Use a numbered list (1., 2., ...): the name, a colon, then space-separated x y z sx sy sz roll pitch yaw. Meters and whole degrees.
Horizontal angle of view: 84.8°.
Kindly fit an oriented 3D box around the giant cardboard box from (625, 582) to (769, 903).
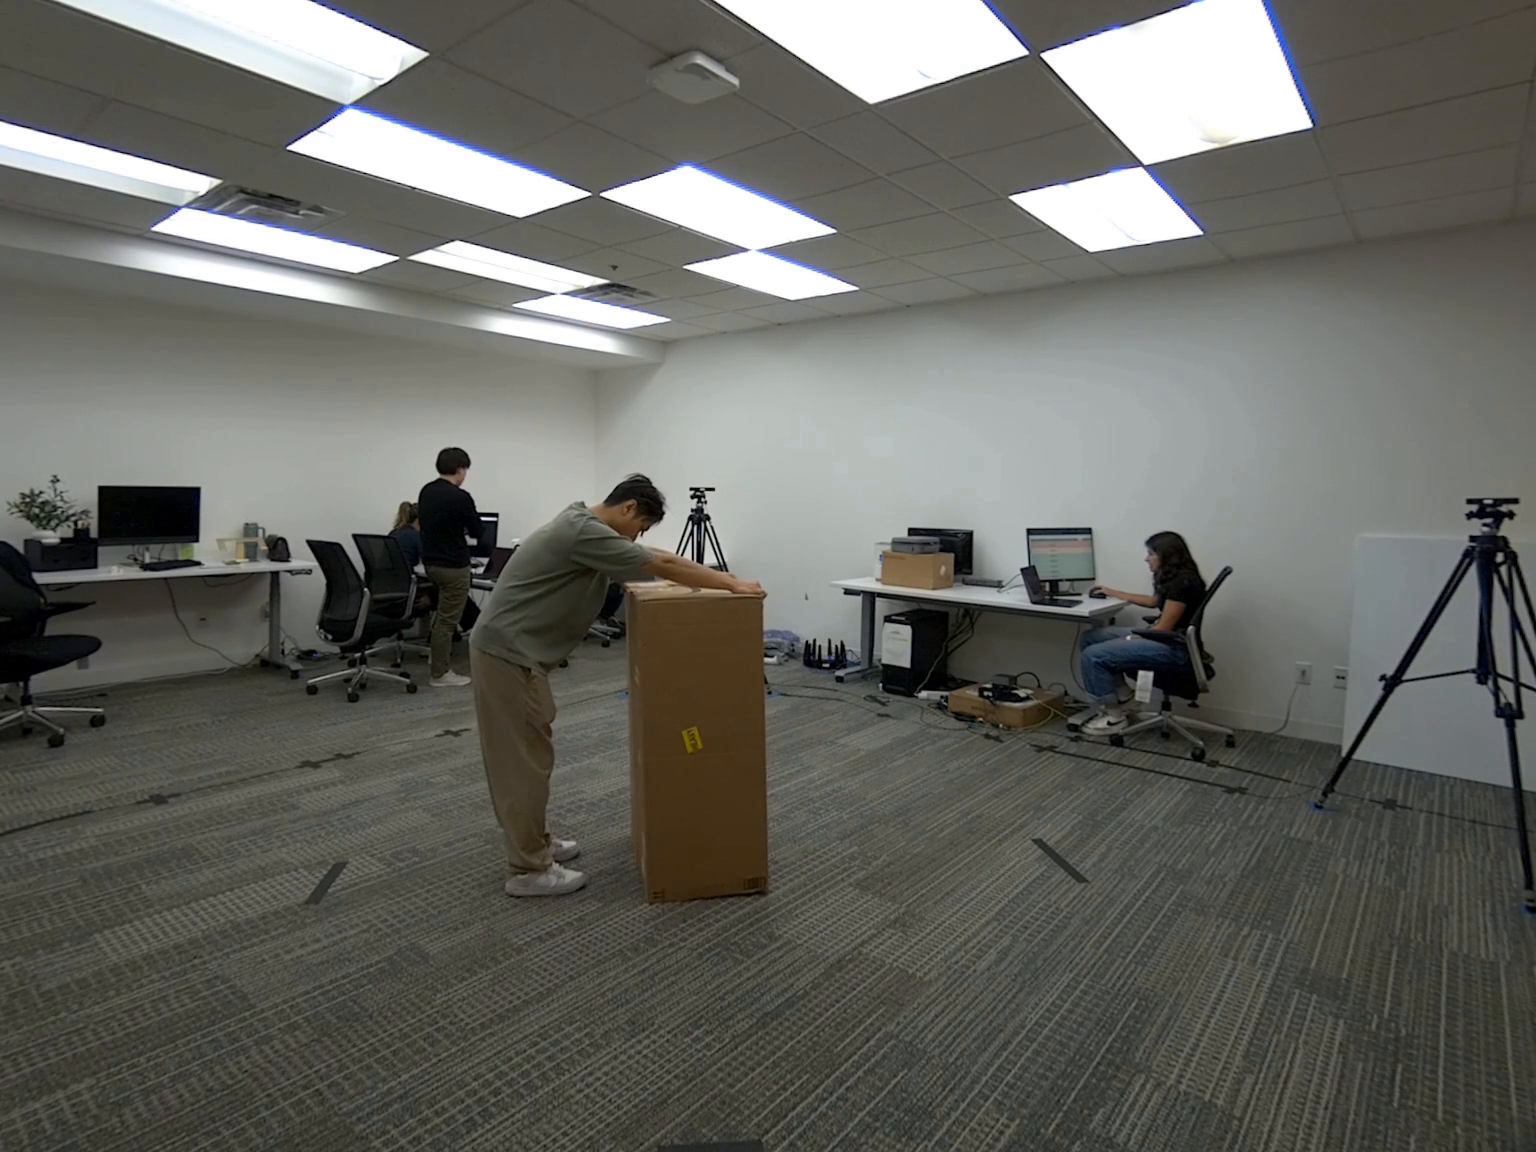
1. giant cardboard box: -0.295 0.548 3.125 0.421 1.023 0.587 -2 4 -14
